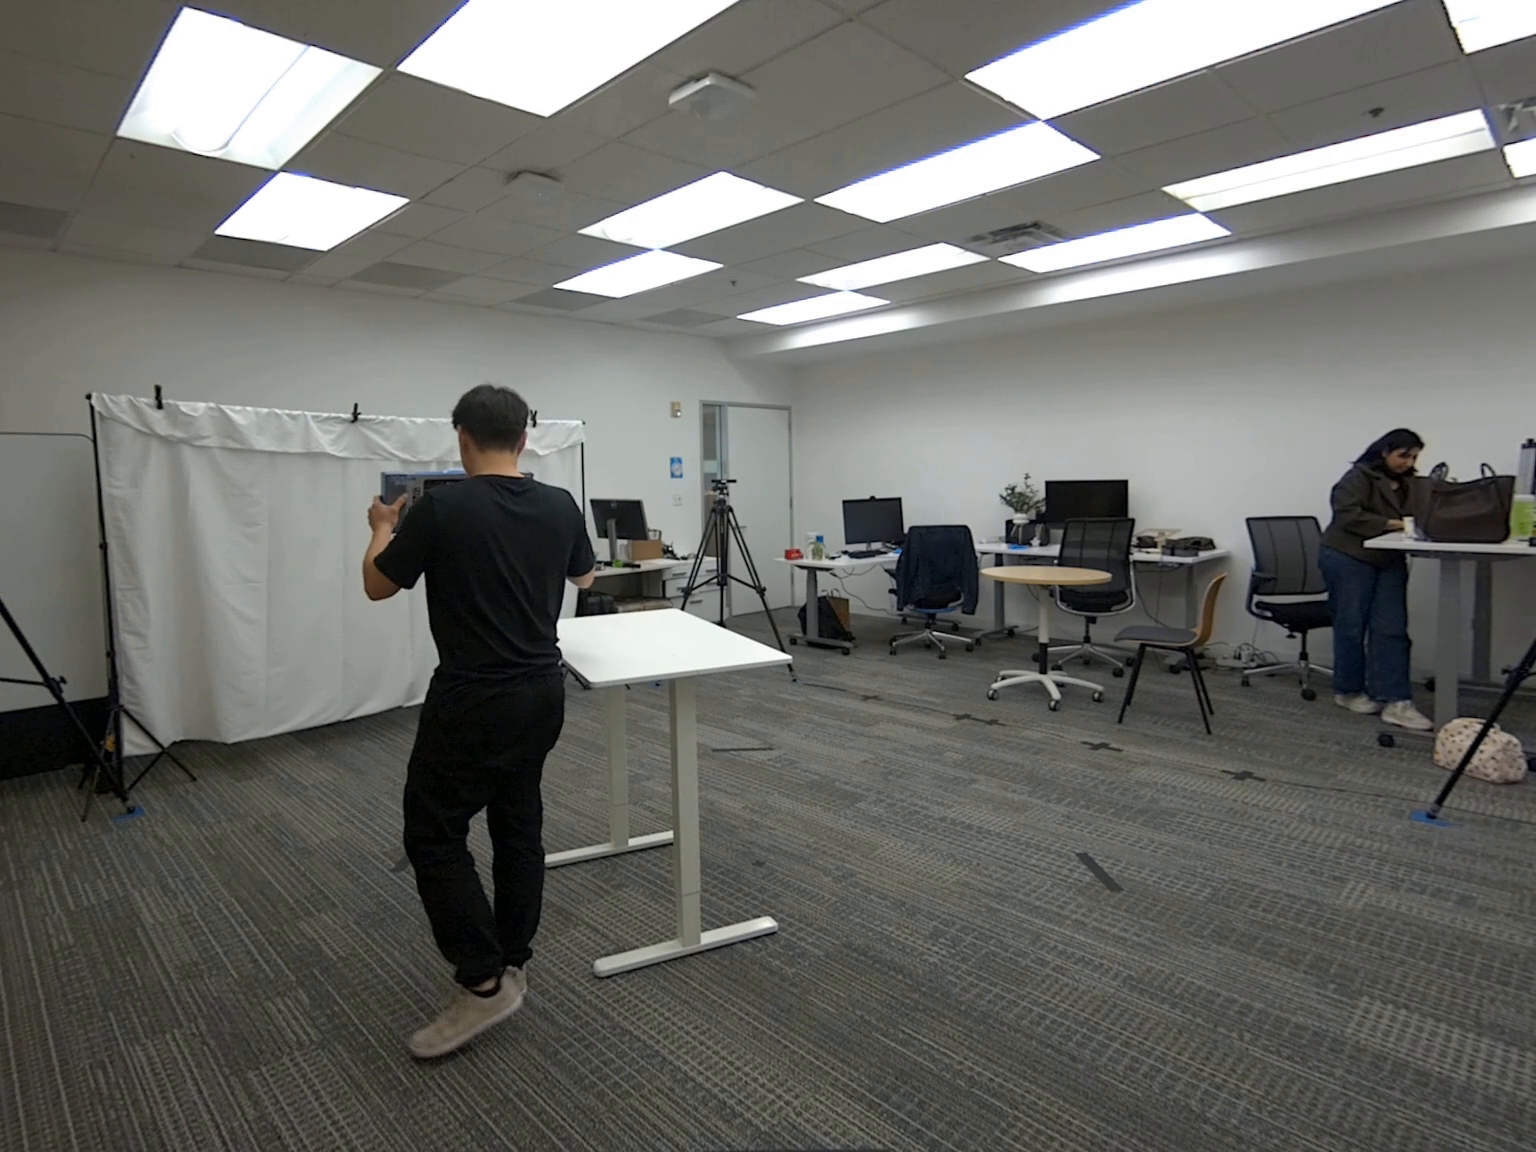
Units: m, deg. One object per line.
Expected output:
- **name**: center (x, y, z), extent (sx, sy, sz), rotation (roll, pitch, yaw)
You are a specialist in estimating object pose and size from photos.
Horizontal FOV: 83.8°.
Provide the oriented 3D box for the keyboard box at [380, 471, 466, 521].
- **keyboard box**: center (-0.926, -0.221, 2.532), extent (0.426, 0.174, 0.061), rotation (-5, 14, -37)
